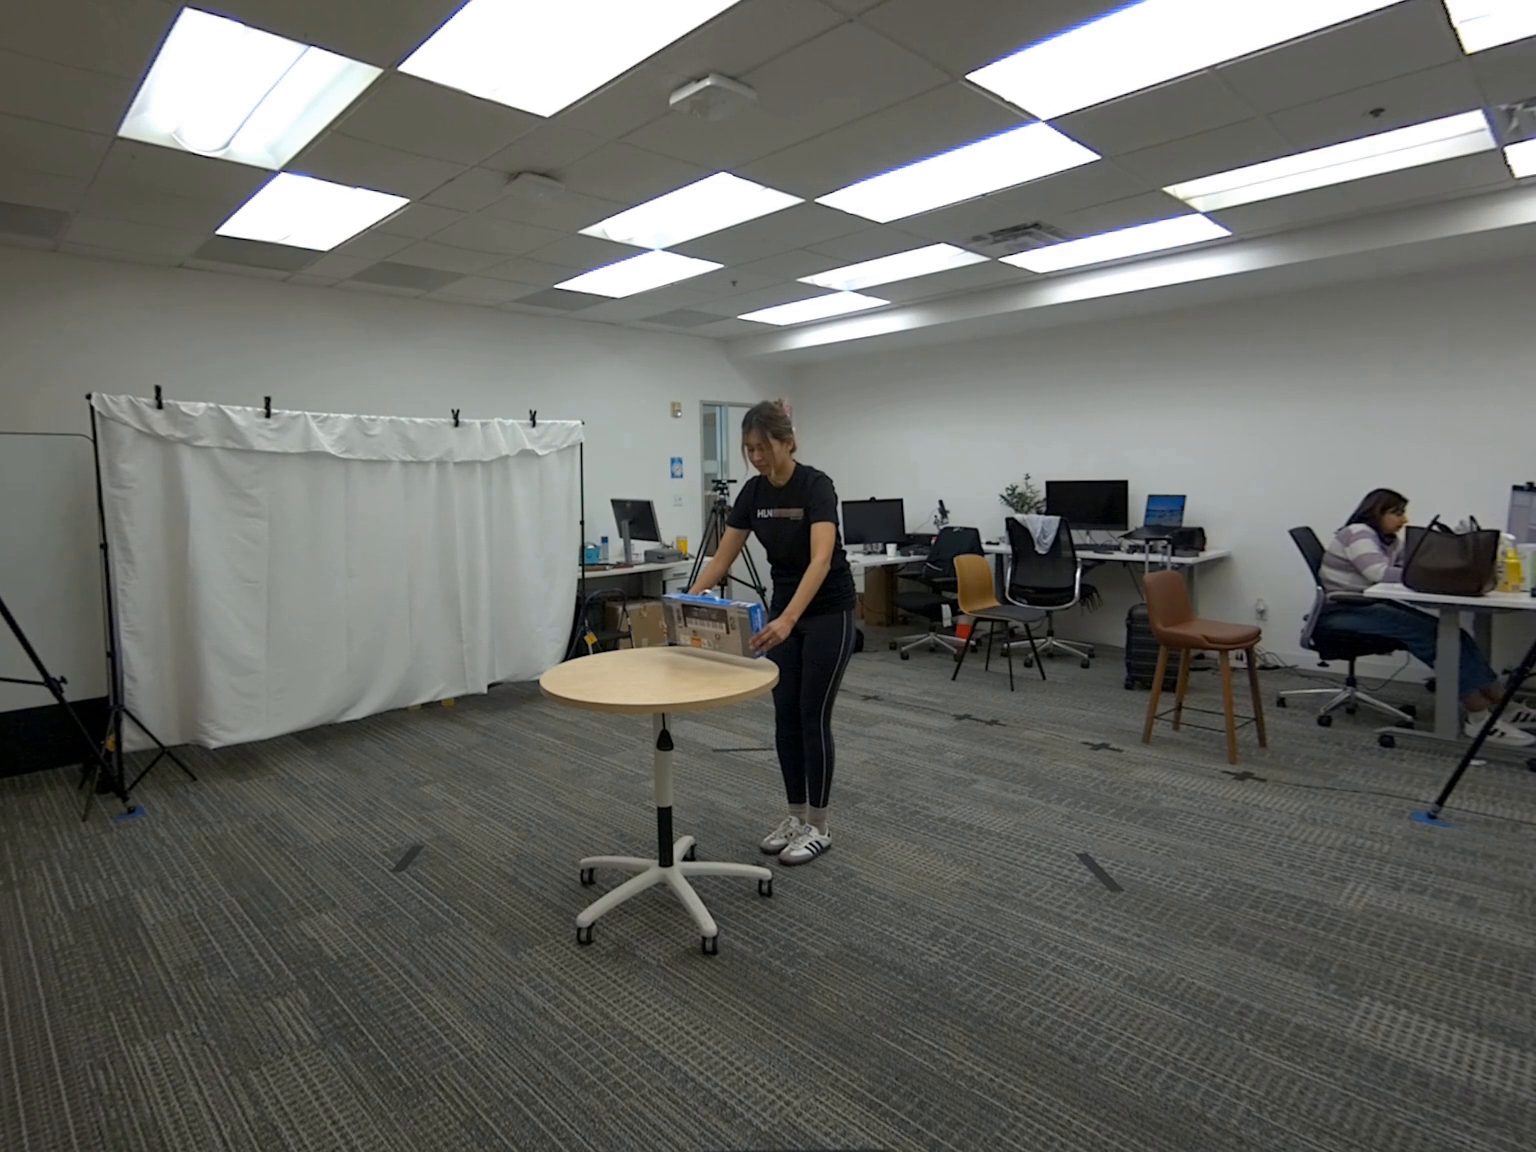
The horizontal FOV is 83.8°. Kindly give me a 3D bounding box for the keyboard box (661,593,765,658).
[{"bbox_3d":[-0.188,0.164,2.896,0.450,0.174,0.058,5,14,44],"label":"keyboard box"}]
